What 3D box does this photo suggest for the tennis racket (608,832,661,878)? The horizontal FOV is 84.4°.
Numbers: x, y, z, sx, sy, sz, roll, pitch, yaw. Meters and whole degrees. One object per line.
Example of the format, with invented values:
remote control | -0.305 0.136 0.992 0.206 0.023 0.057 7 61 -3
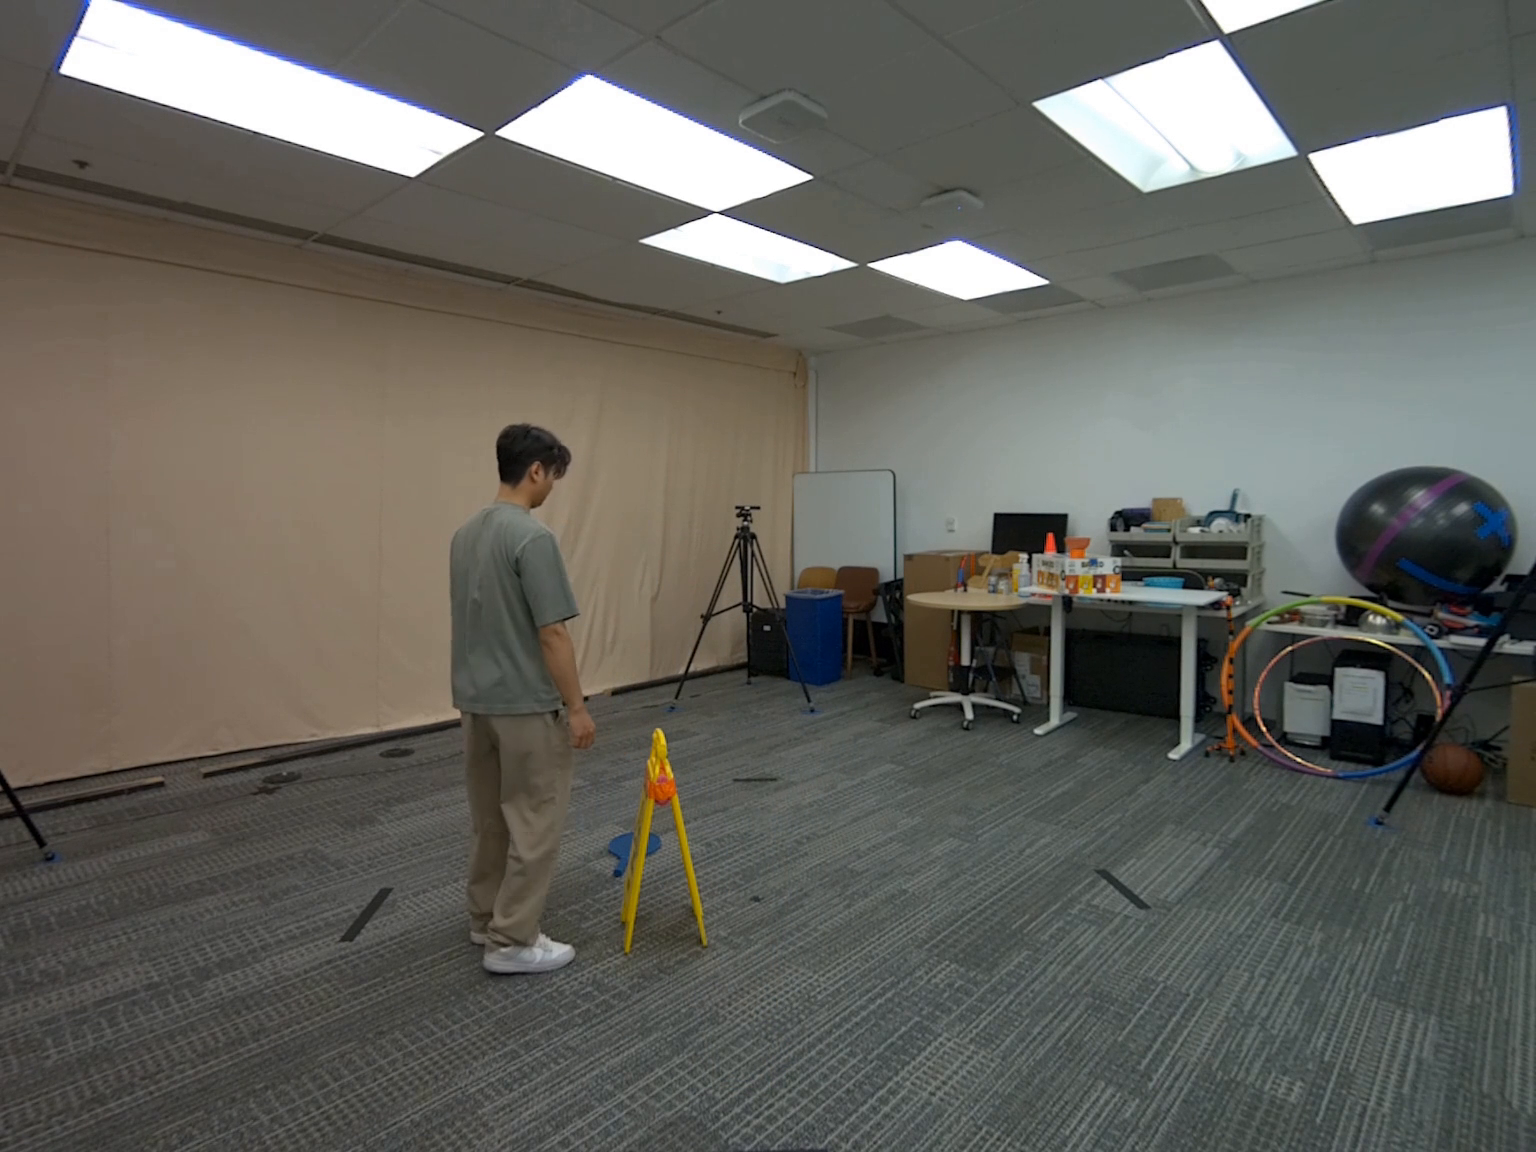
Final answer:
tennis racket | -0.548 1.104 3.372 0.215 0.032 0.431 -1 4 4
